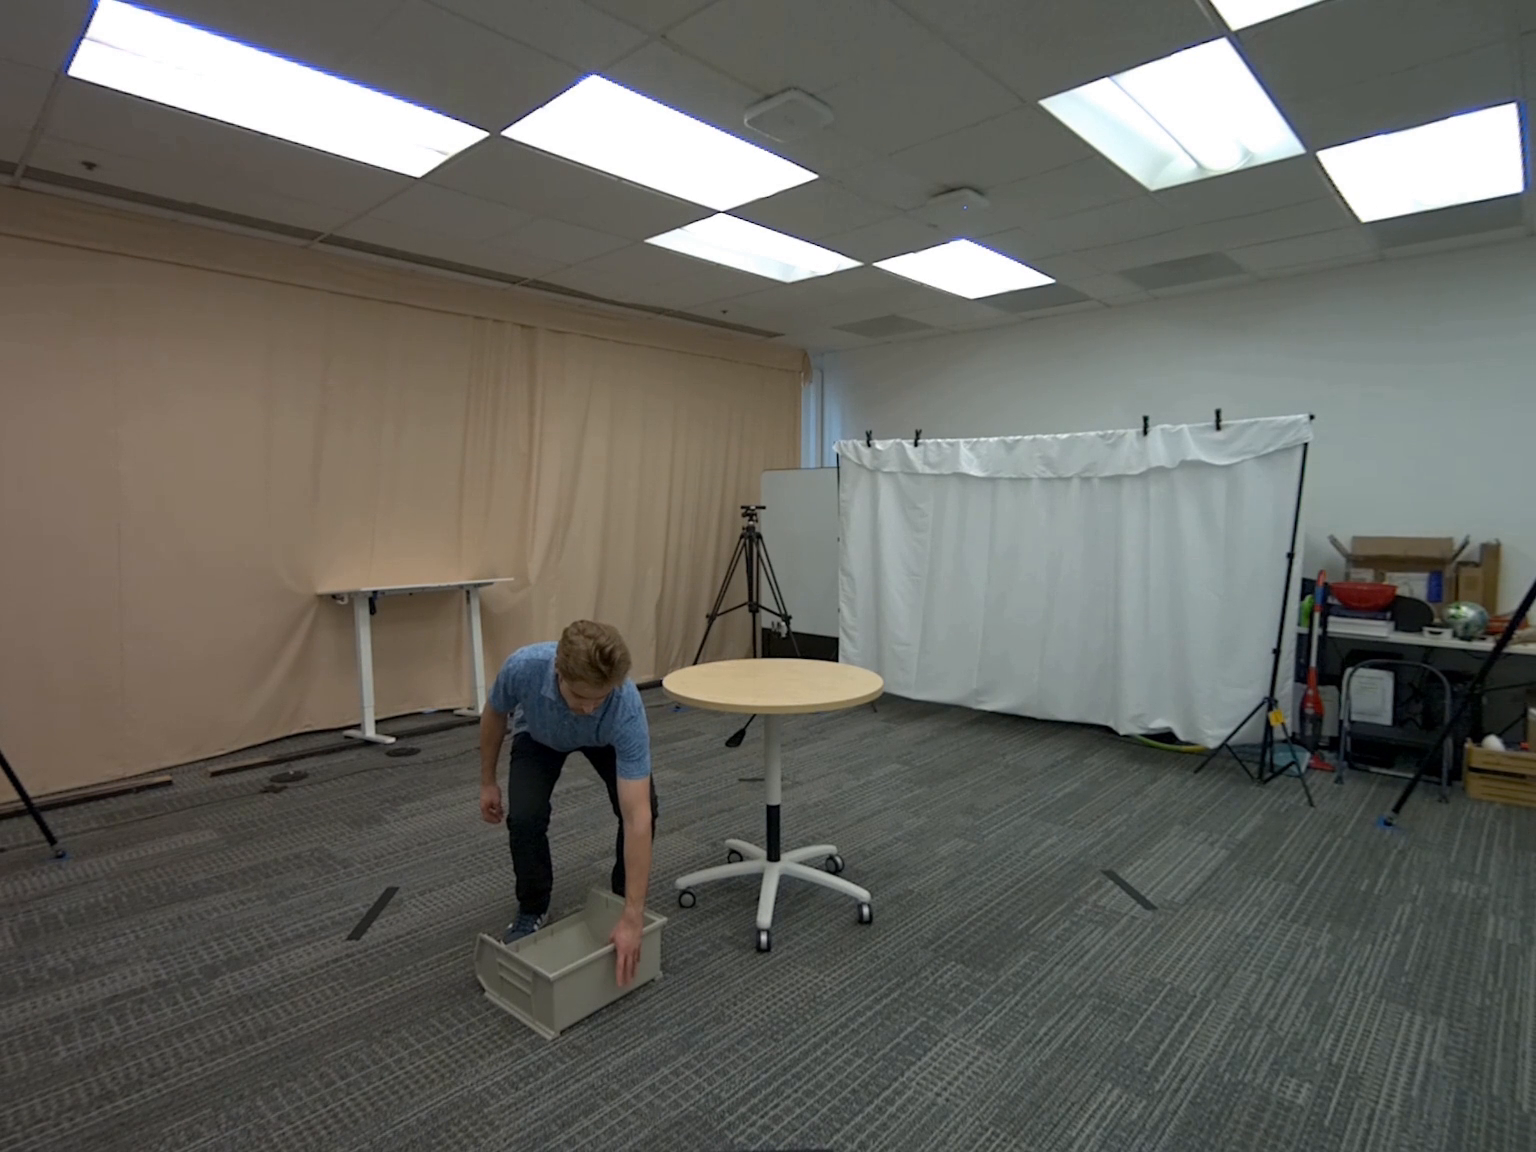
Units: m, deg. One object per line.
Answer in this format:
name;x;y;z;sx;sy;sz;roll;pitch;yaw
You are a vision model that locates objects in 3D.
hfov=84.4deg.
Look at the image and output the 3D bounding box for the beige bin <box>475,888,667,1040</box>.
beige bin;-0.573;1.105;2.450;0.390;0.188;0.409;4;5;40
